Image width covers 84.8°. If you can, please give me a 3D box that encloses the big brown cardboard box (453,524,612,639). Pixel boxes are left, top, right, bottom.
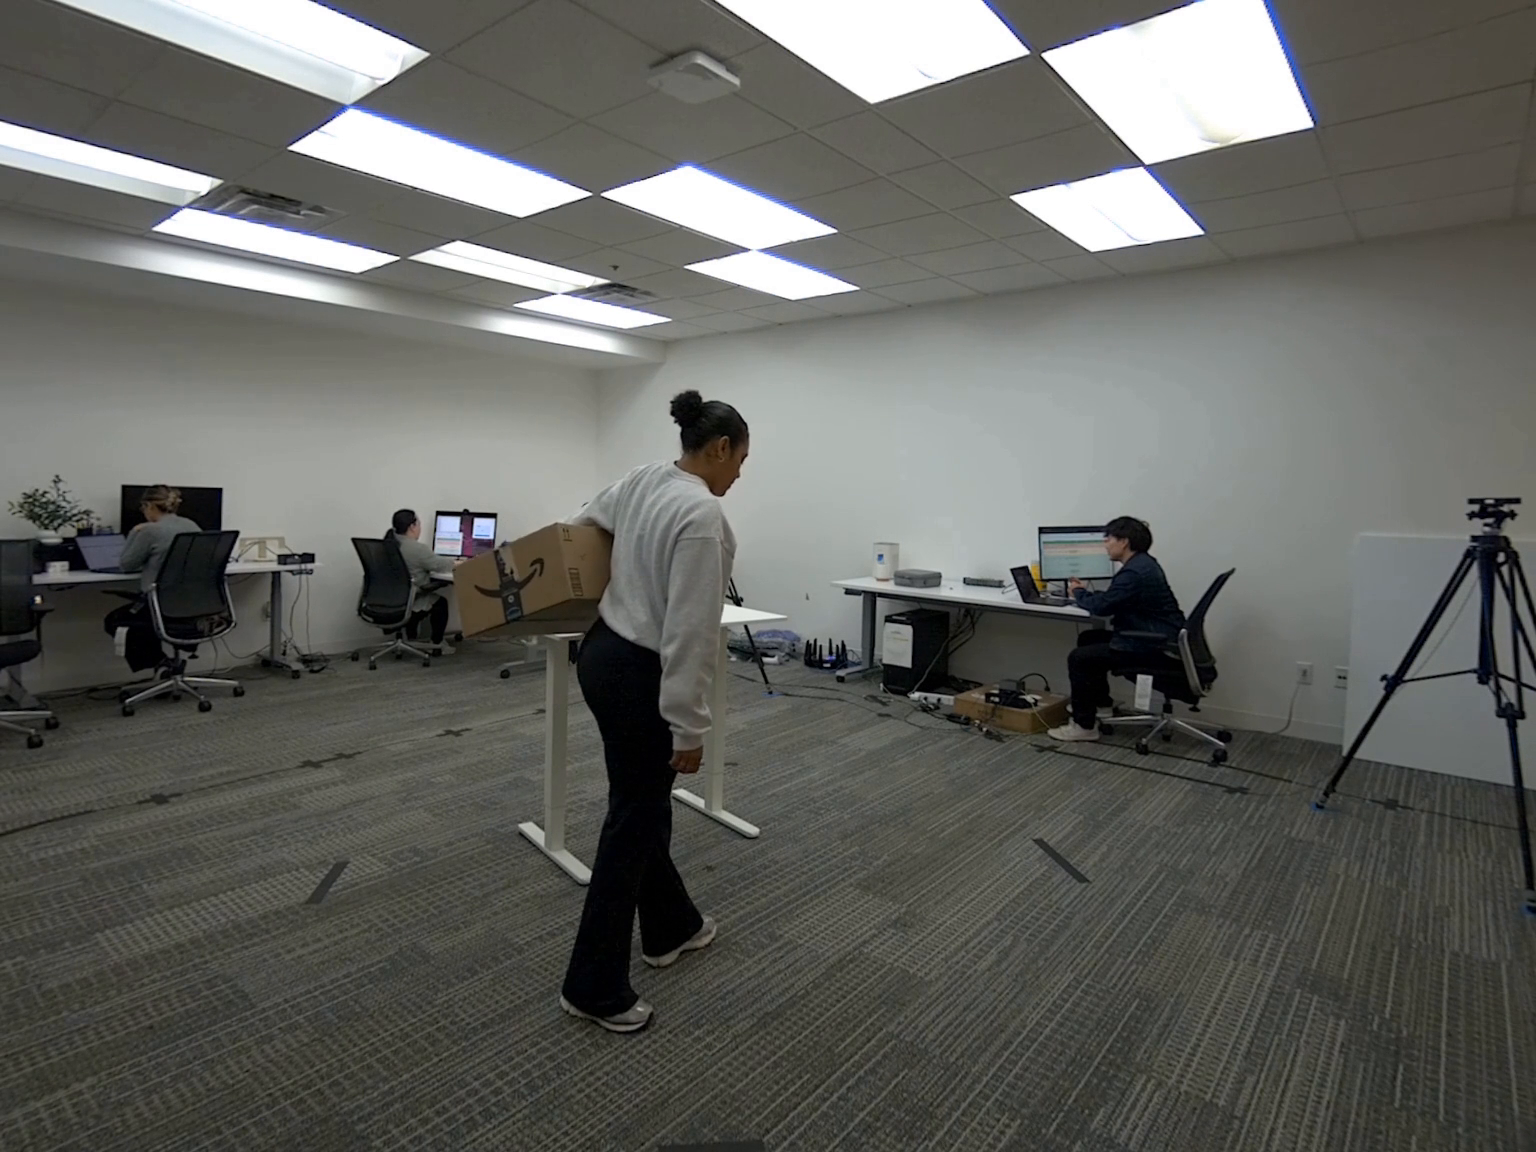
[{"bbox_3d":[-0.598,0.023,2.606,0.424,0.236,0.572,-19,-10,26],"label":"big brown cardboard box"}]
